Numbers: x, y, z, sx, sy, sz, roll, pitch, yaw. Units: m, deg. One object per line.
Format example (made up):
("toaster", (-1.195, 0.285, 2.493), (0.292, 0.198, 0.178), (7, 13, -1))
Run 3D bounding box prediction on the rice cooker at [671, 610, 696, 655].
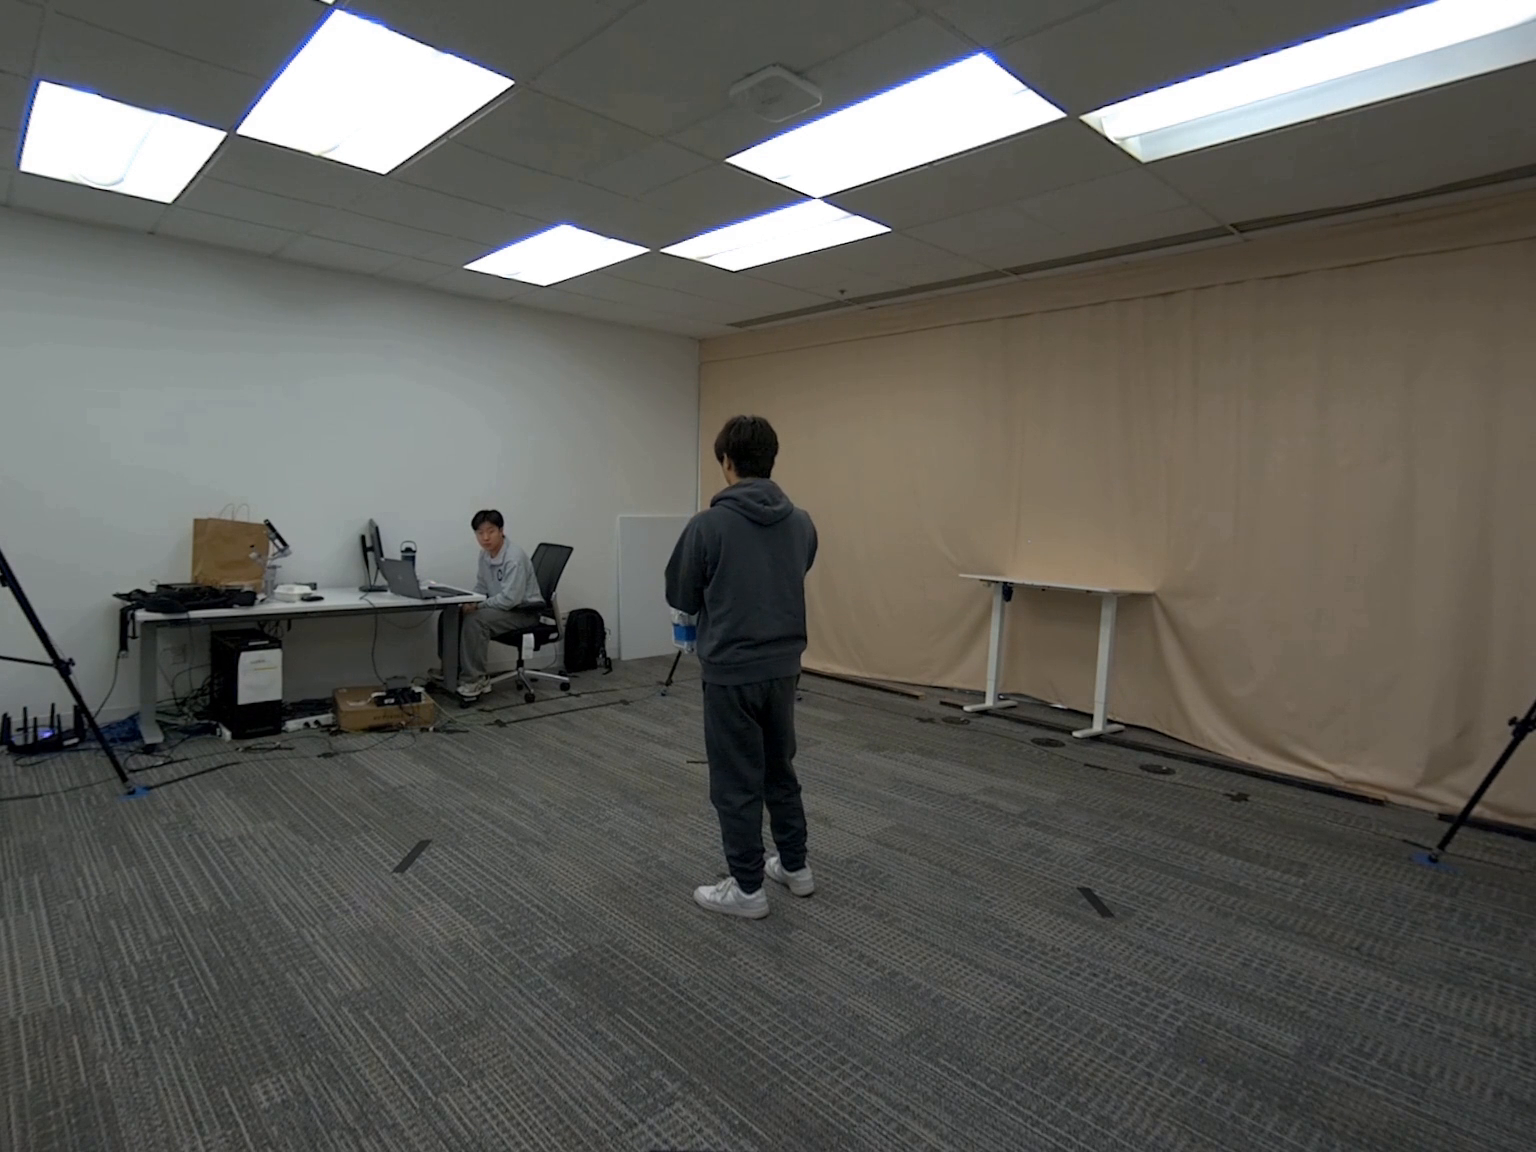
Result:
("rice cooker", (-0.264, 0.160, 3.135), (0.217, 0.232, 0.222), (0, 6, -23))
